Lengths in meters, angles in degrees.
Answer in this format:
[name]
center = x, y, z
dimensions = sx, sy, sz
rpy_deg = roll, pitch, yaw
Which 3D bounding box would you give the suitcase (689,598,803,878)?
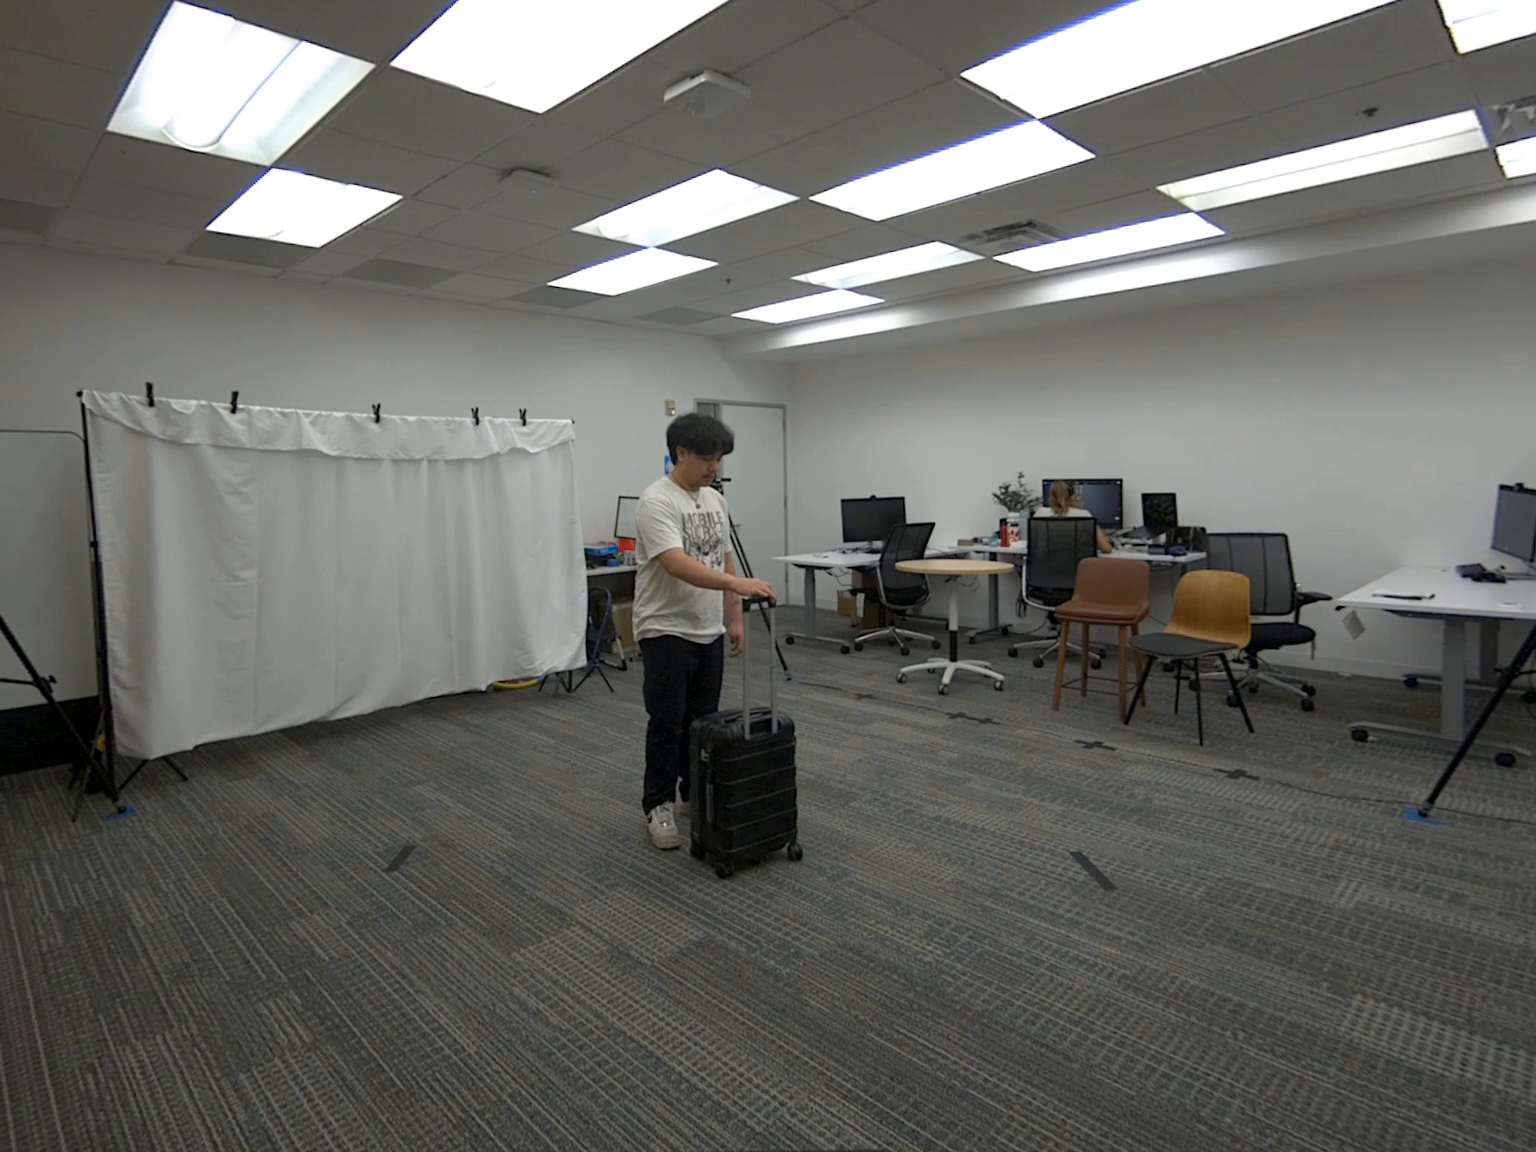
[suitcase]
center = -0.091, 0.565, 3.120
dimensions = 0.374, 0.977, 0.264
rpy_deg = -2, 2, -34
